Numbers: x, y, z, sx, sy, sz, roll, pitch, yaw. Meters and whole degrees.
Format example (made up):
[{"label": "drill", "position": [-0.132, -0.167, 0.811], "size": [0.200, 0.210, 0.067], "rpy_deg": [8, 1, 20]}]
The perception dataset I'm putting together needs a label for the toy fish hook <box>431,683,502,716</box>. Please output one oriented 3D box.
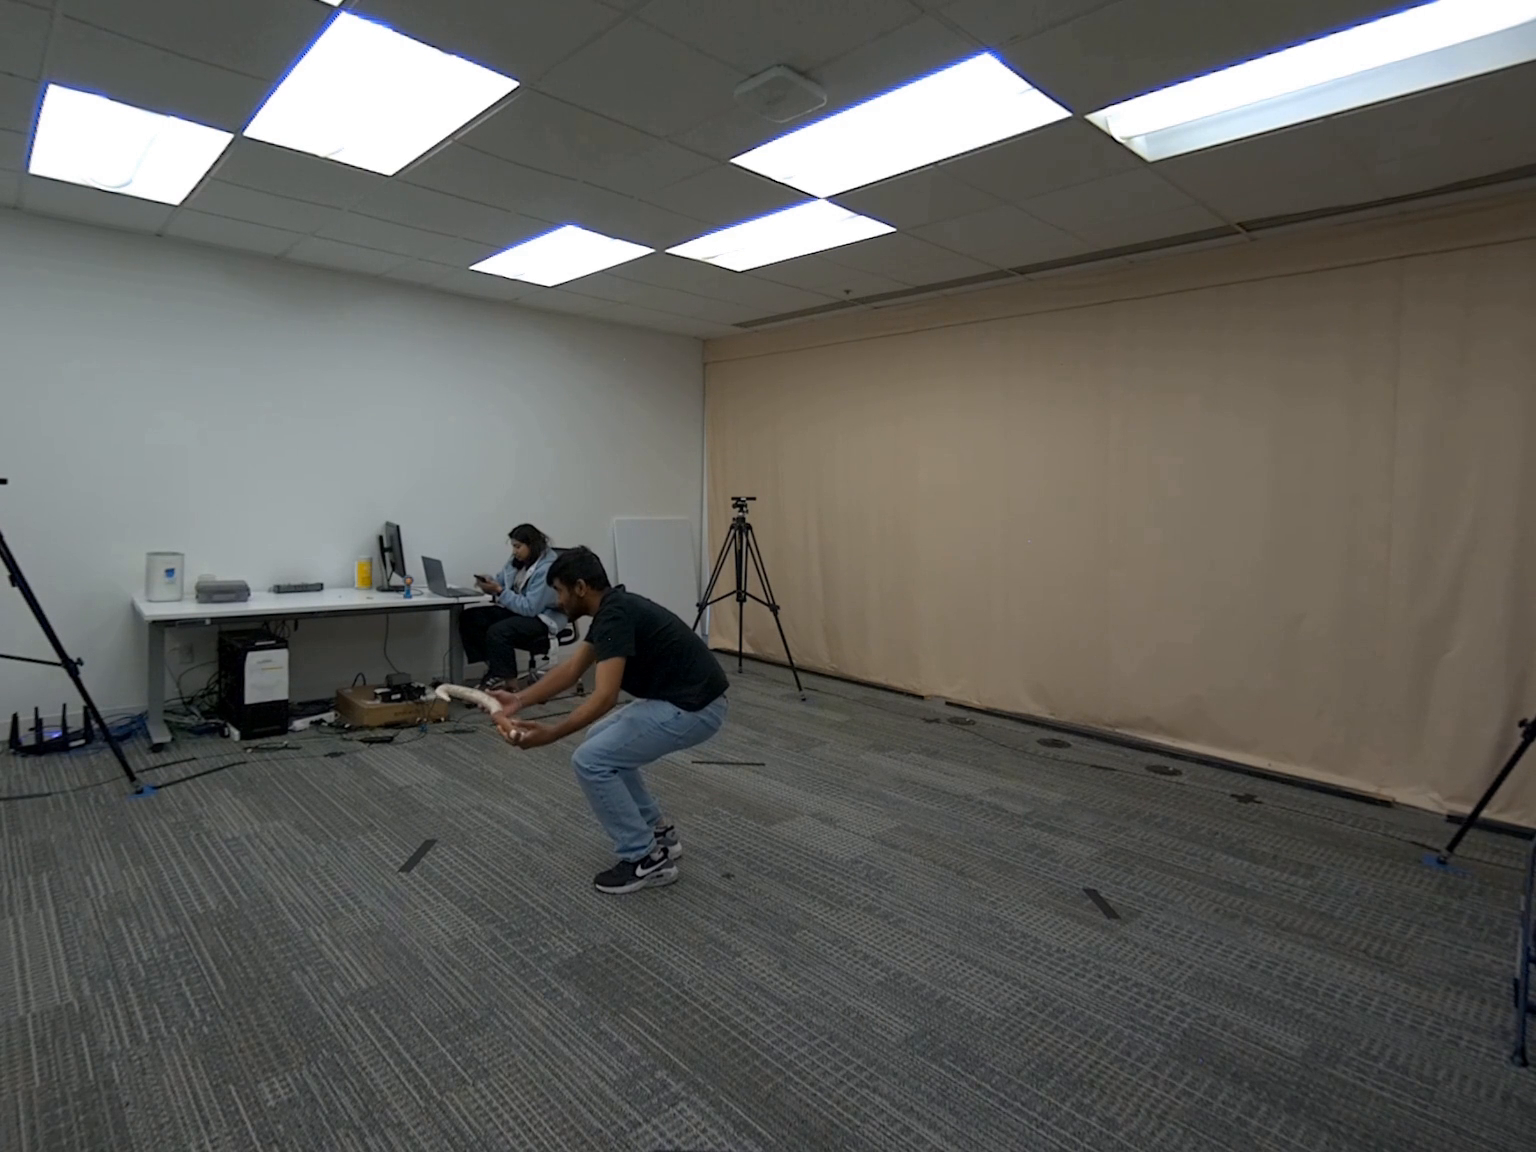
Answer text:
[{"label": "toy fish hook", "position": [-0.925, 0.434, 2.683], "size": [0.219, 0.048, 0.519], "rpy_deg": [15, -1, -32]}]
